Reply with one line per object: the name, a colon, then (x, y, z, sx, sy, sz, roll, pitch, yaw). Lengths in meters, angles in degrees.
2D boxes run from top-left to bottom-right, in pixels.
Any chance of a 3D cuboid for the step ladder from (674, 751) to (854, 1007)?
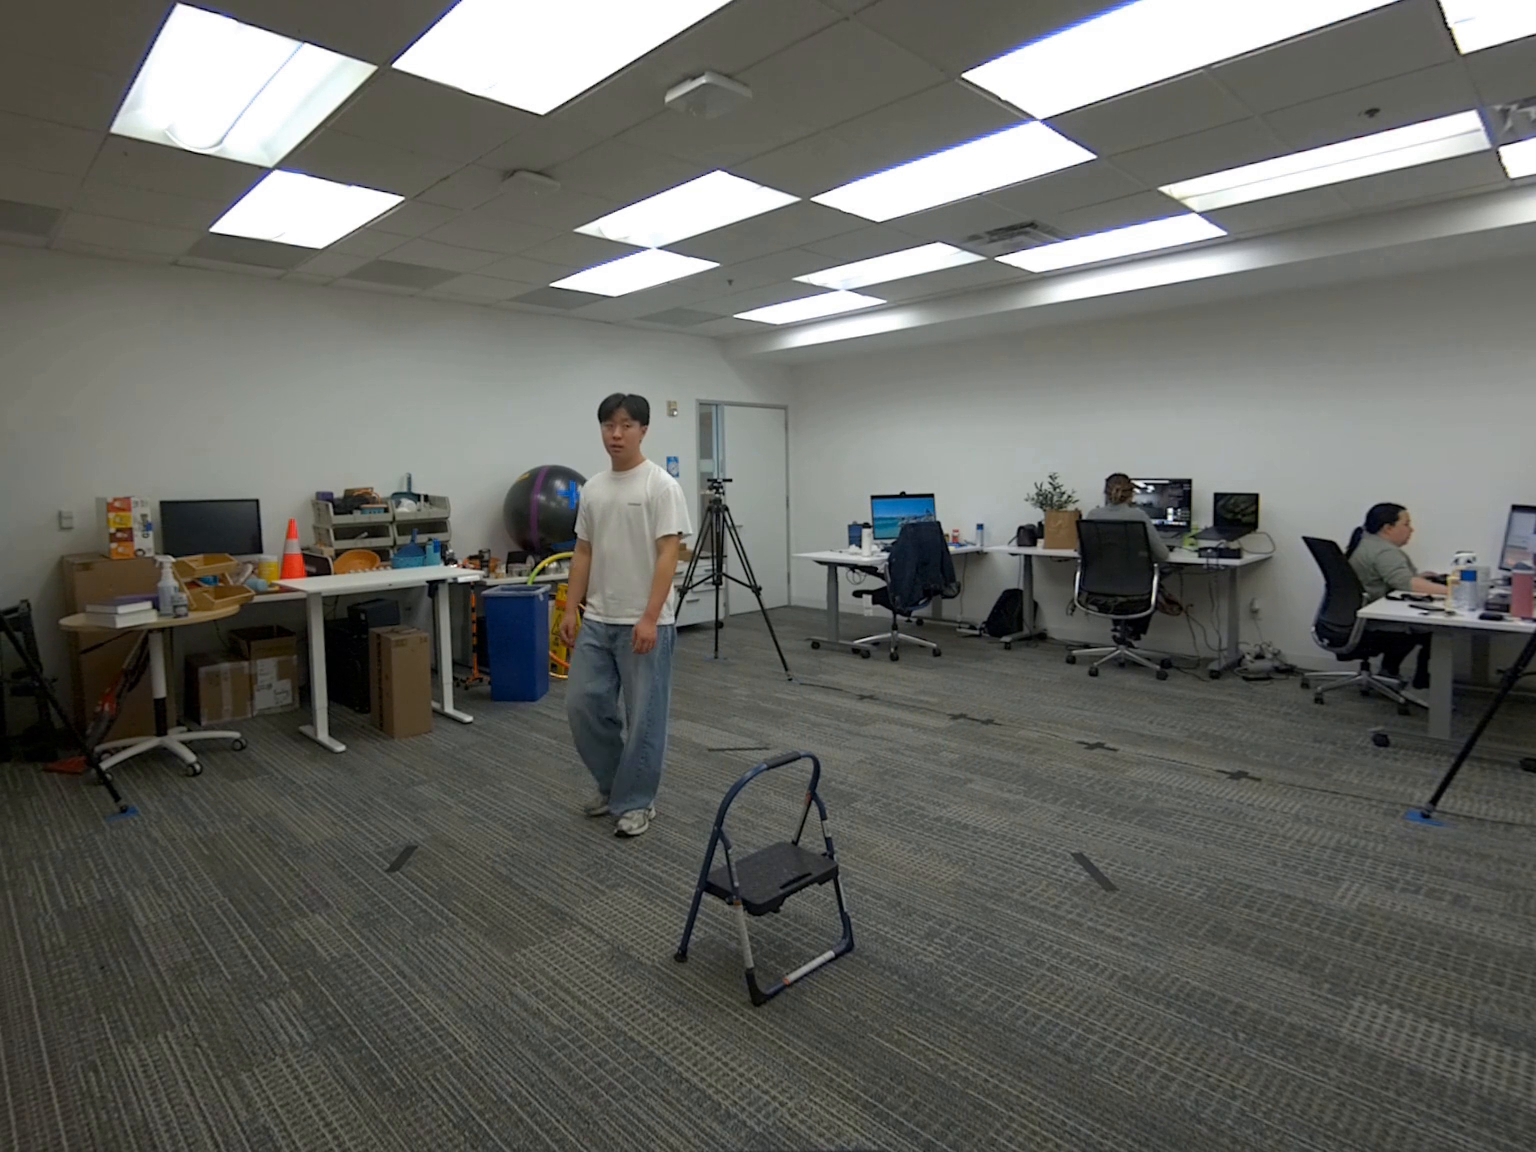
step ladder: (-0.009, 0.809, 2.503, 0.360, 0.604, 0.419, 3, 6, 45)
